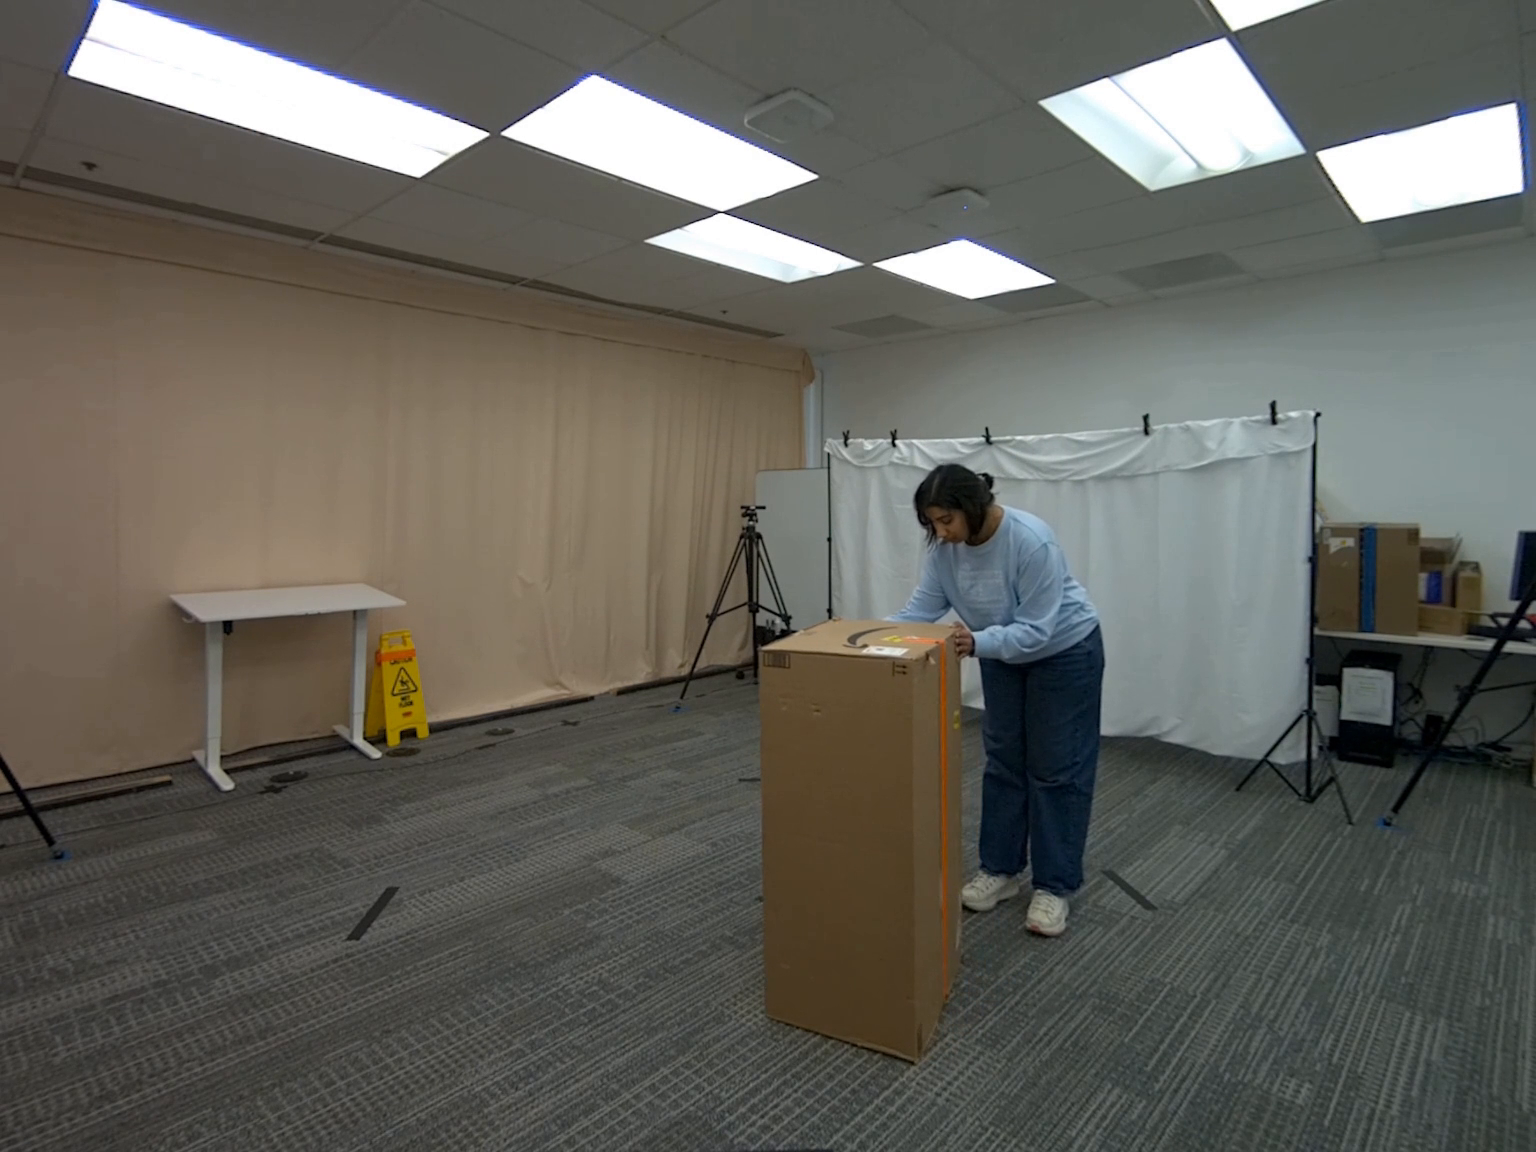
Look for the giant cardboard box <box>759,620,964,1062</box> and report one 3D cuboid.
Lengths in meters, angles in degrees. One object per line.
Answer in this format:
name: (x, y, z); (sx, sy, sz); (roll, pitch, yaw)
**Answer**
giant cardboard box: (0.294, 0.685, 2.414); (0.437, 1.024, 0.564); (0, 4, 26)
